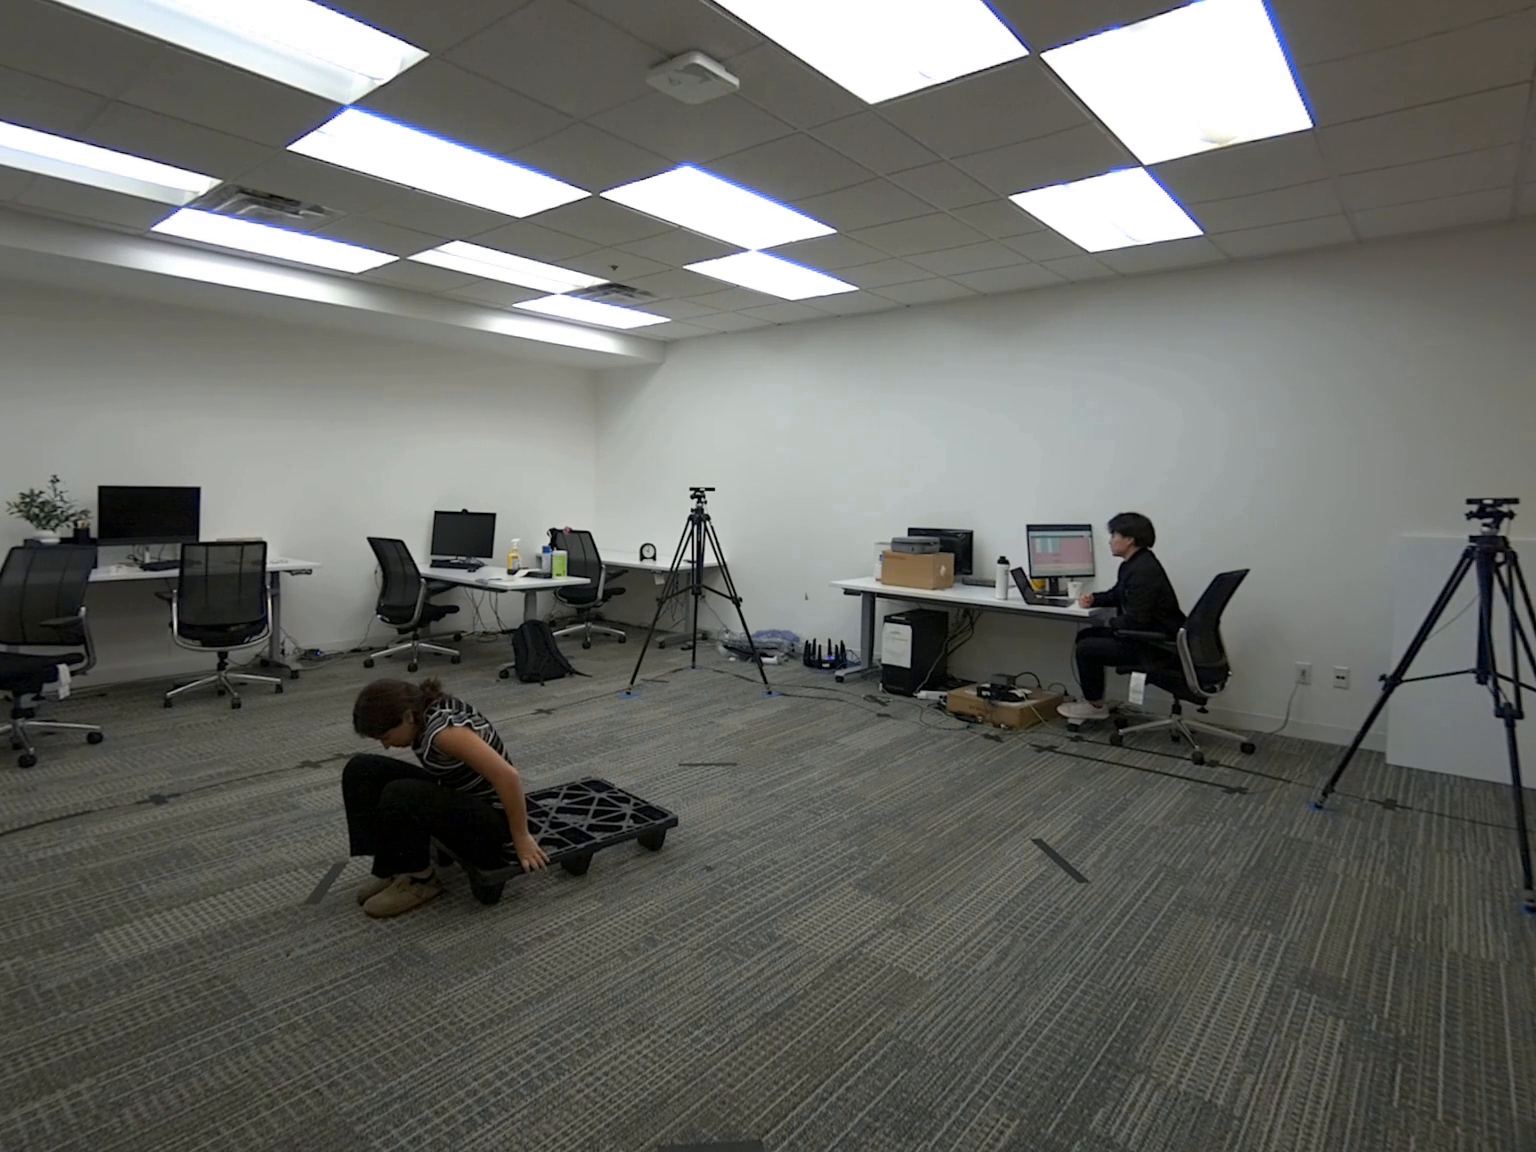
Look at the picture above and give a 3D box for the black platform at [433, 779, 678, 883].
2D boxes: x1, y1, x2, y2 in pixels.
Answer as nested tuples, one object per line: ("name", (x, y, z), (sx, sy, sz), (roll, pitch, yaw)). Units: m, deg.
("black platform", (-0.844, 0.976, 3.215), (0.781, 0.143, 0.625), (-4, 7, -42))
